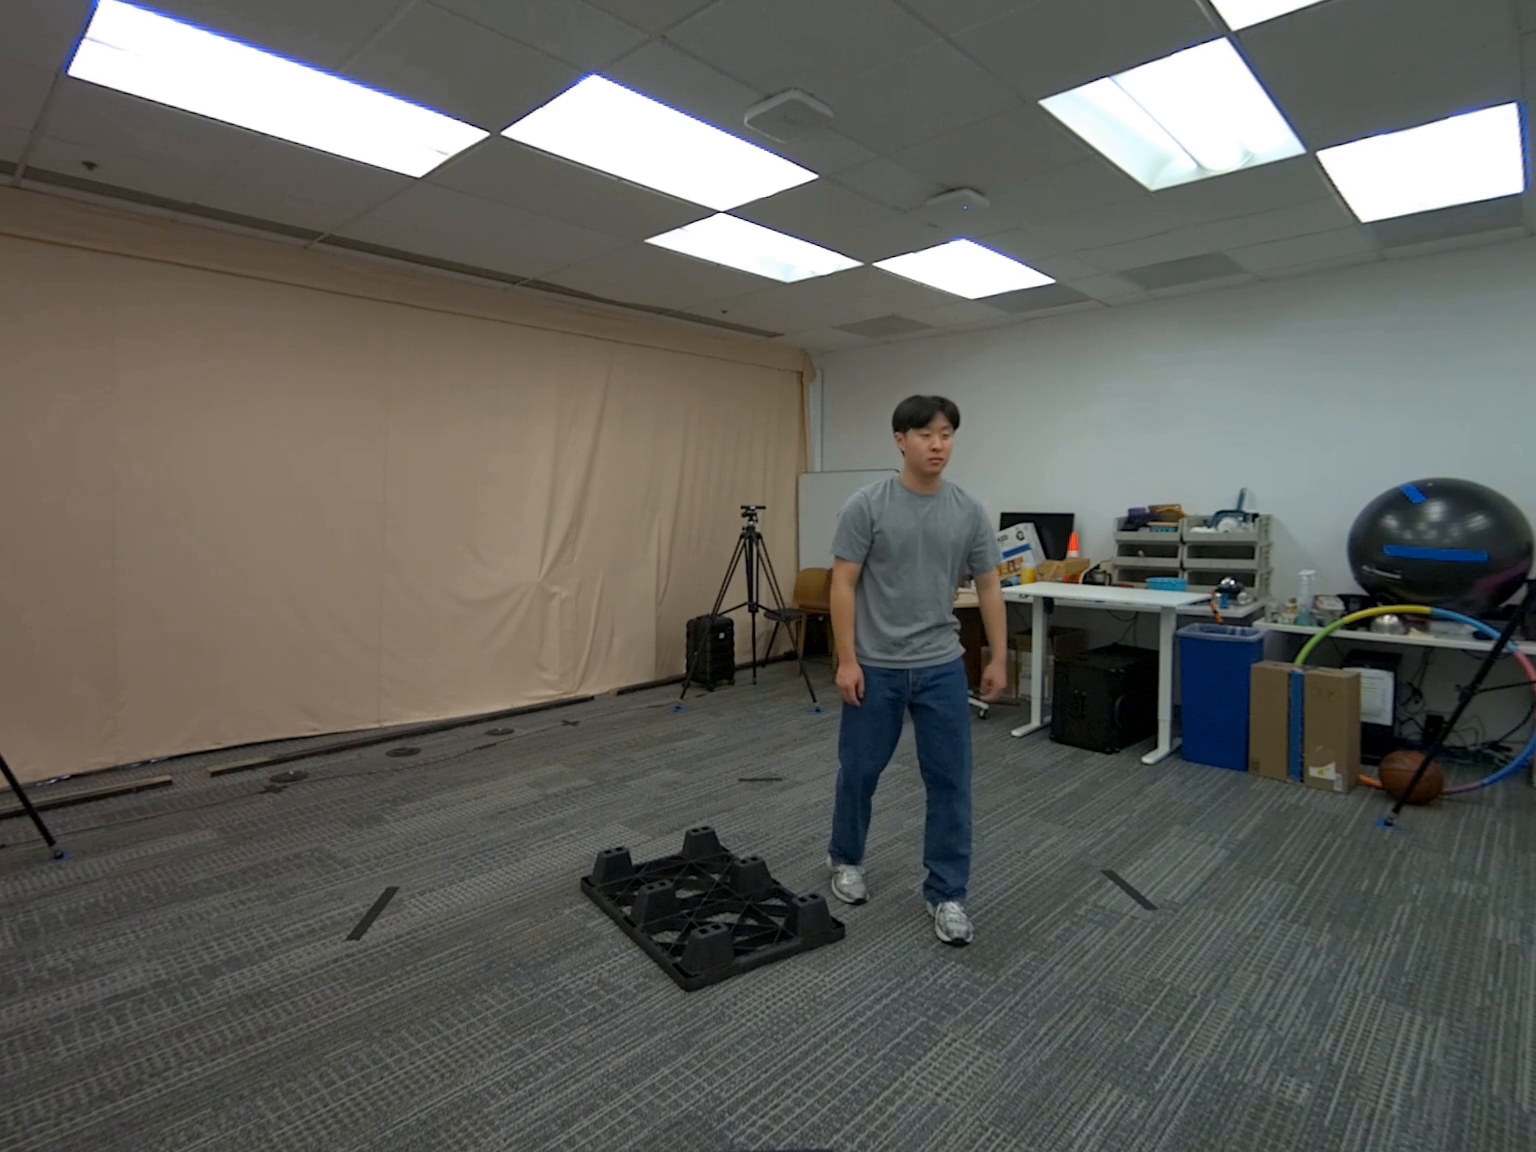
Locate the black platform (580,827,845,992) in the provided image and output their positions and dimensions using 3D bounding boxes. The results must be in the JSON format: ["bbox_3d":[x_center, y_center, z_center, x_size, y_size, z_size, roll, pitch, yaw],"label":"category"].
[{"bbox_3d":[-0.209,1.087,2.887,0.588,0.143,0.831,-4,6,-34],"label":"black platform"}]
